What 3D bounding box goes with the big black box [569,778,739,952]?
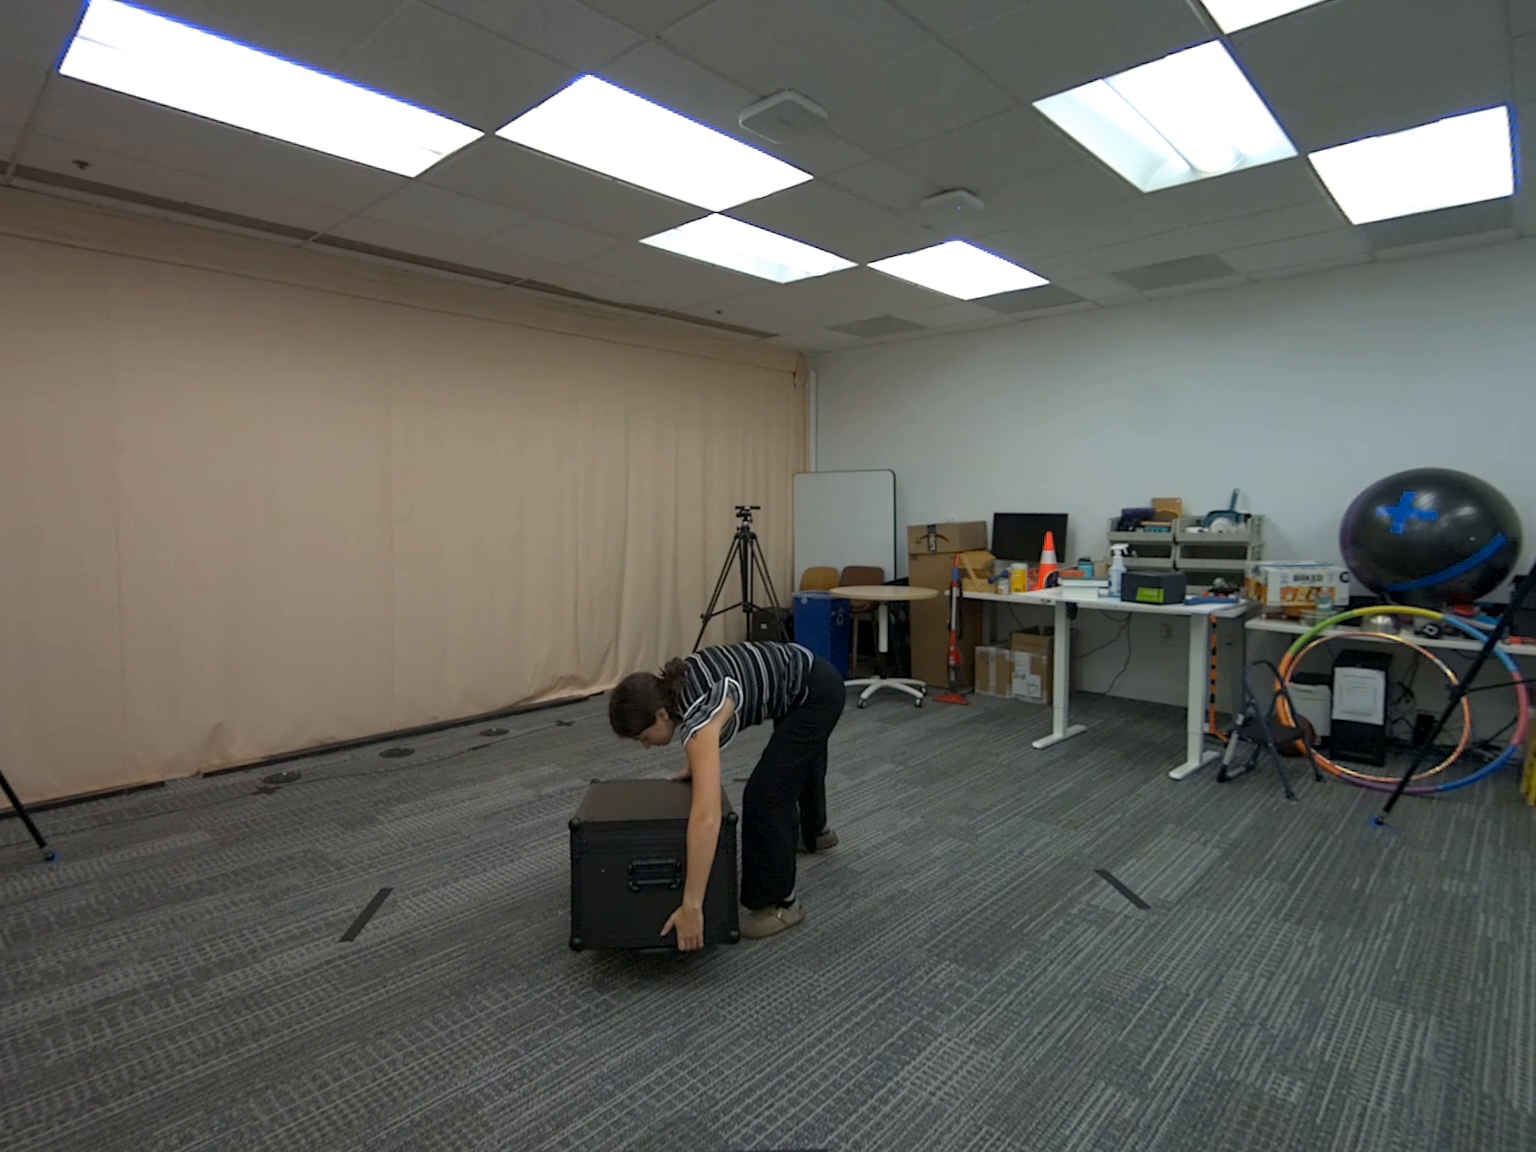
[{"bbox_3d":[-0.383,0.929,2.828,0.518,0.398,0.863,-3,-4,-6],"label":"big black box"}]
